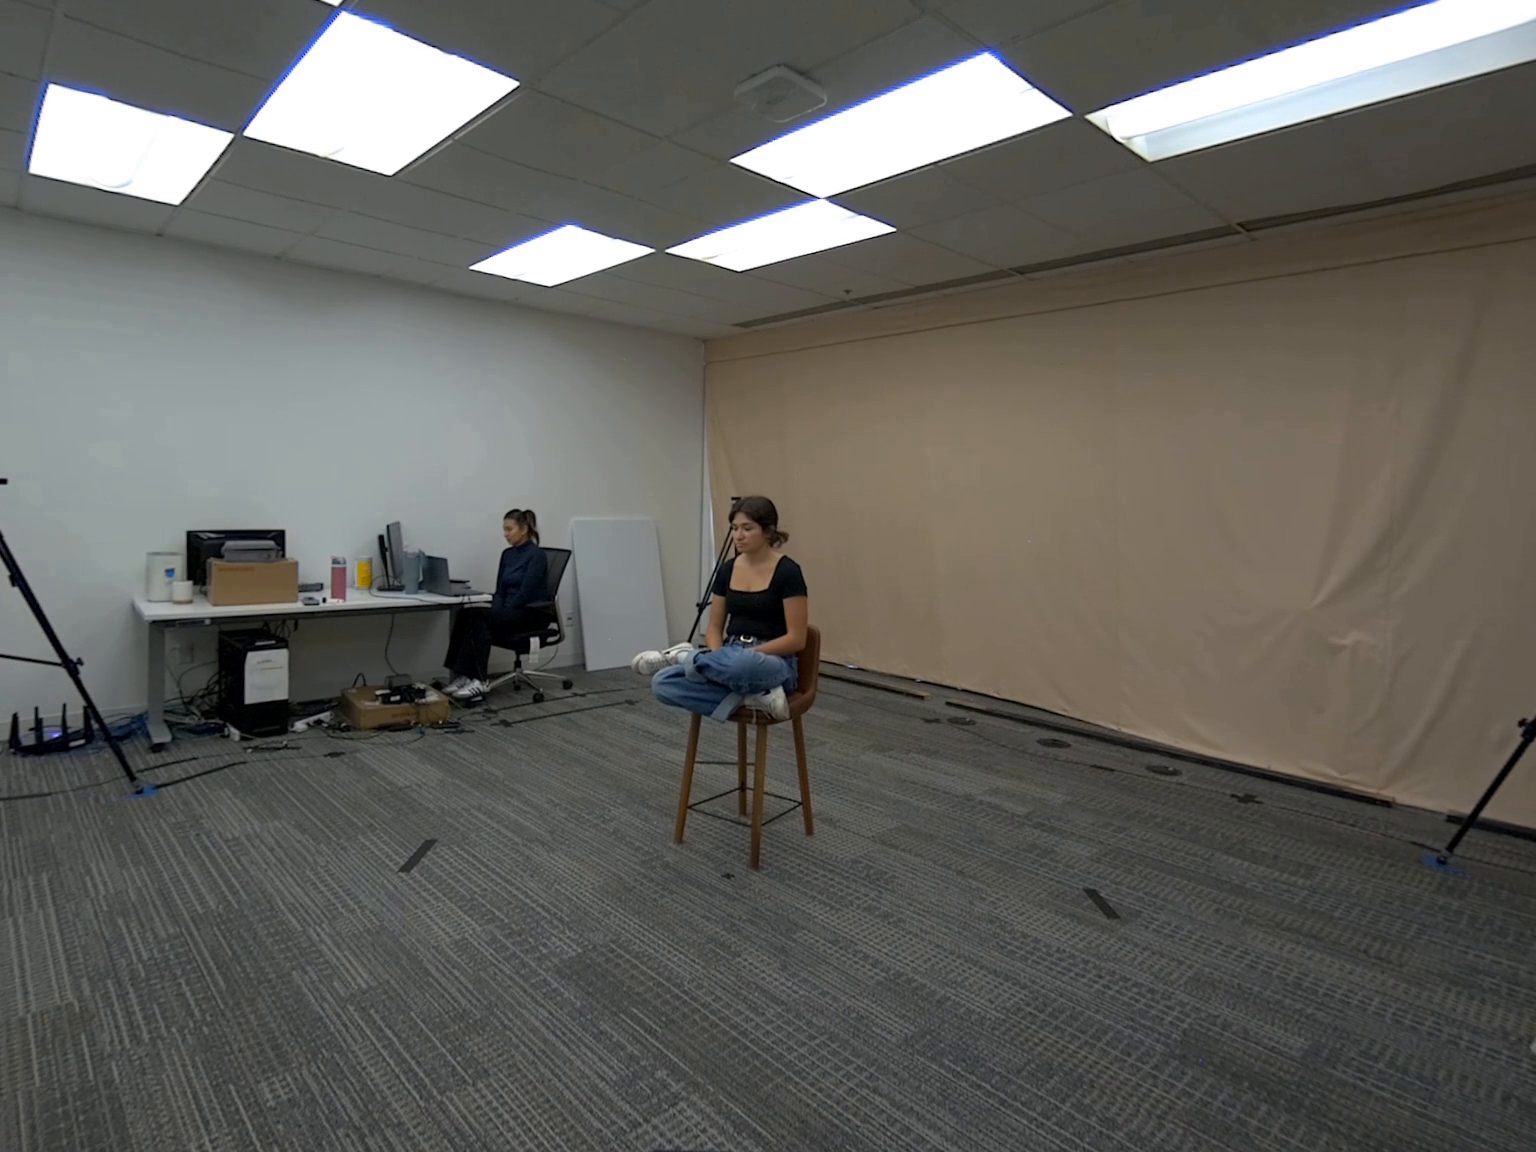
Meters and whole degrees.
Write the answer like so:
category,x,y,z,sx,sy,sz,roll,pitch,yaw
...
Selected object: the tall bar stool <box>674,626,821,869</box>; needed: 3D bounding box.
category,x,y,z,sx,sy,sz,roll,pitch,yaw
tall bar stool,-0.074,0.646,3.437,0.467,0.889,0.457,4,2,37
